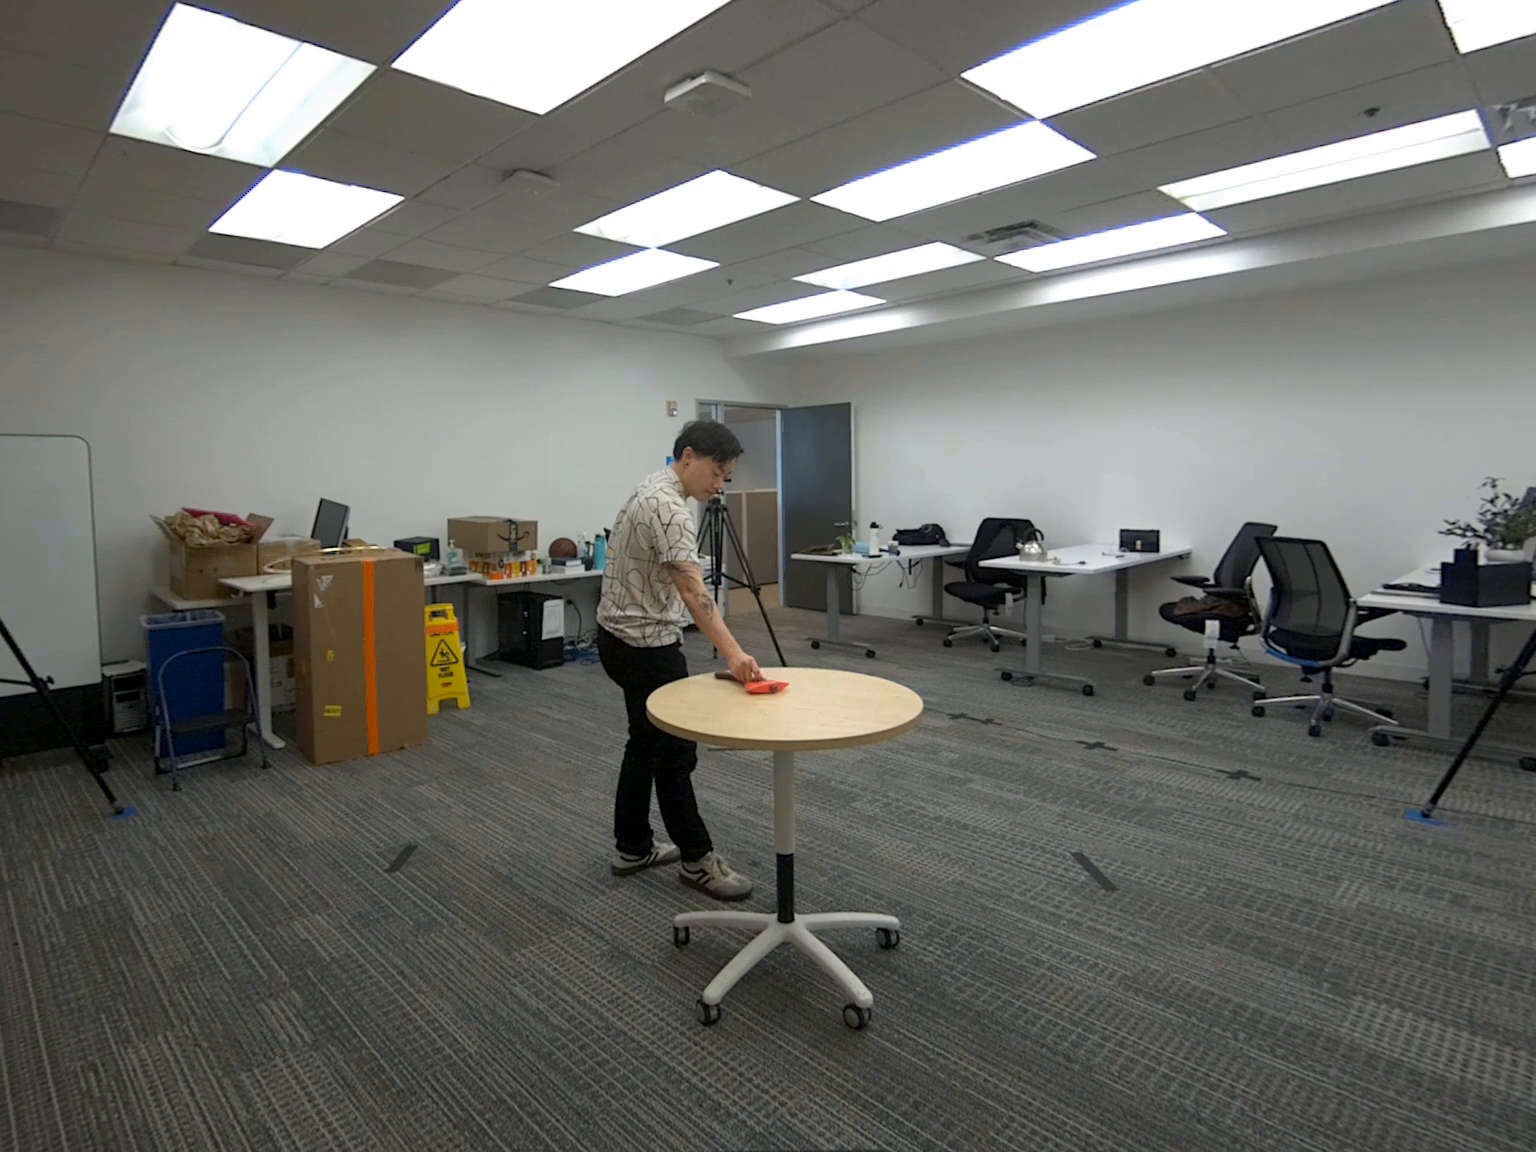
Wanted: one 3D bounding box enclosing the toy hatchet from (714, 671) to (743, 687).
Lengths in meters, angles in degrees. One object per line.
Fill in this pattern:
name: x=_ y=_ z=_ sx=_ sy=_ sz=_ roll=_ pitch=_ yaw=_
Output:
toy hatchet: x=-0.058 y=0.320 z=2.525 sx=0.278 sy=0.029 sz=0.128 roll=2 pitch=6 yaw=40
